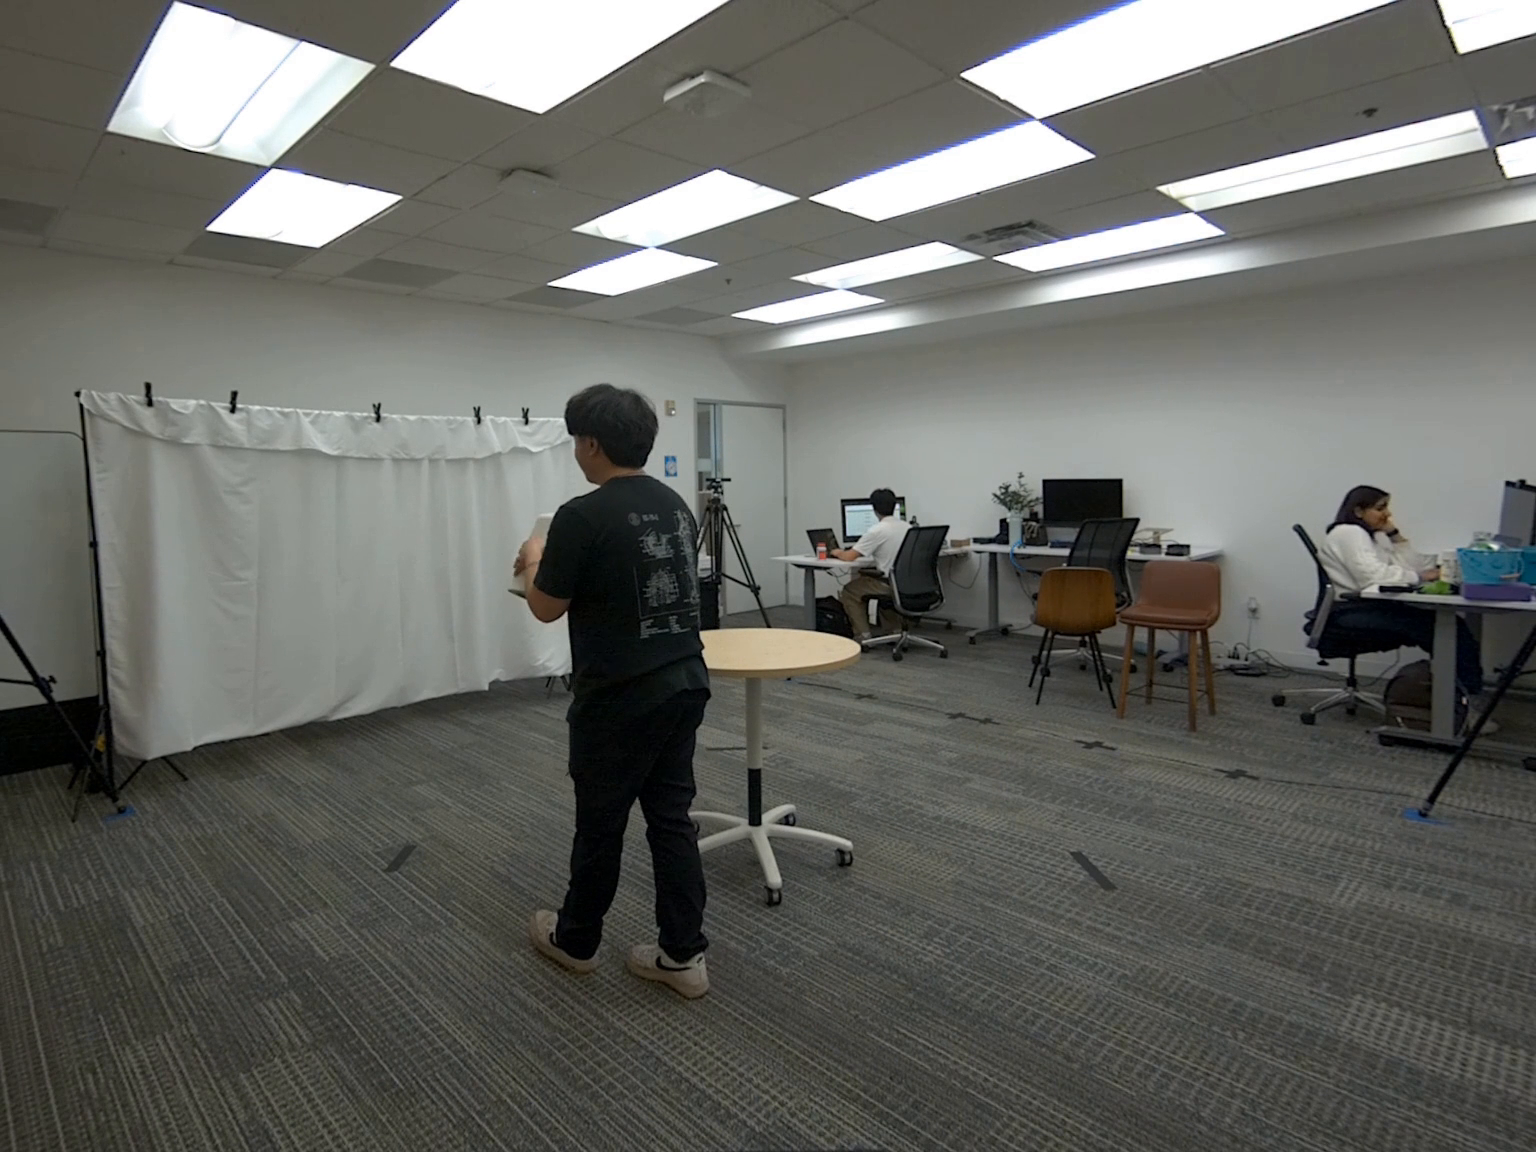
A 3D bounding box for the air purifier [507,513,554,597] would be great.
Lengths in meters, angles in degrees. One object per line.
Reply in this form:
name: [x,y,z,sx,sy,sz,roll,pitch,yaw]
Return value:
air purifier: [-0.647,-0.046,2.611,0.177,0.267,0.164,4,-20,46]
